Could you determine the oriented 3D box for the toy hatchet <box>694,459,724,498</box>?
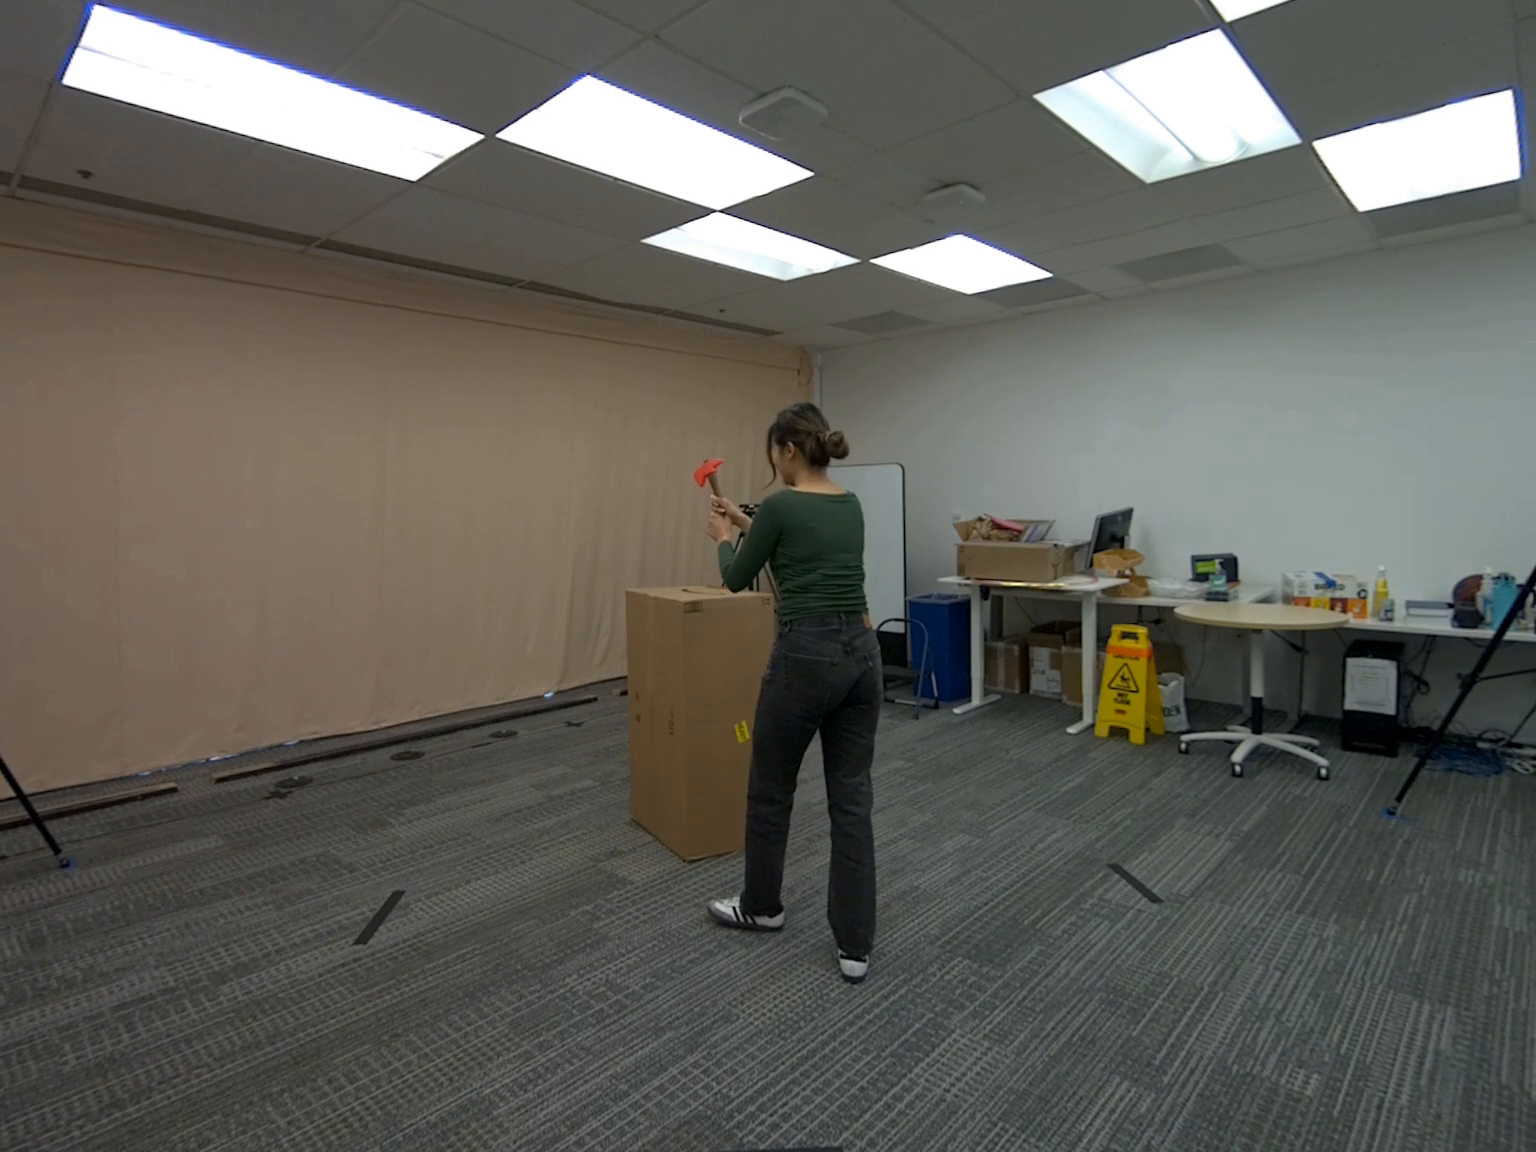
[{"bbox_3d":[-0.203,-0.269,2.933,0.134,0.271,0.029,-4,-4,28],"label":"toy hatchet"}]
